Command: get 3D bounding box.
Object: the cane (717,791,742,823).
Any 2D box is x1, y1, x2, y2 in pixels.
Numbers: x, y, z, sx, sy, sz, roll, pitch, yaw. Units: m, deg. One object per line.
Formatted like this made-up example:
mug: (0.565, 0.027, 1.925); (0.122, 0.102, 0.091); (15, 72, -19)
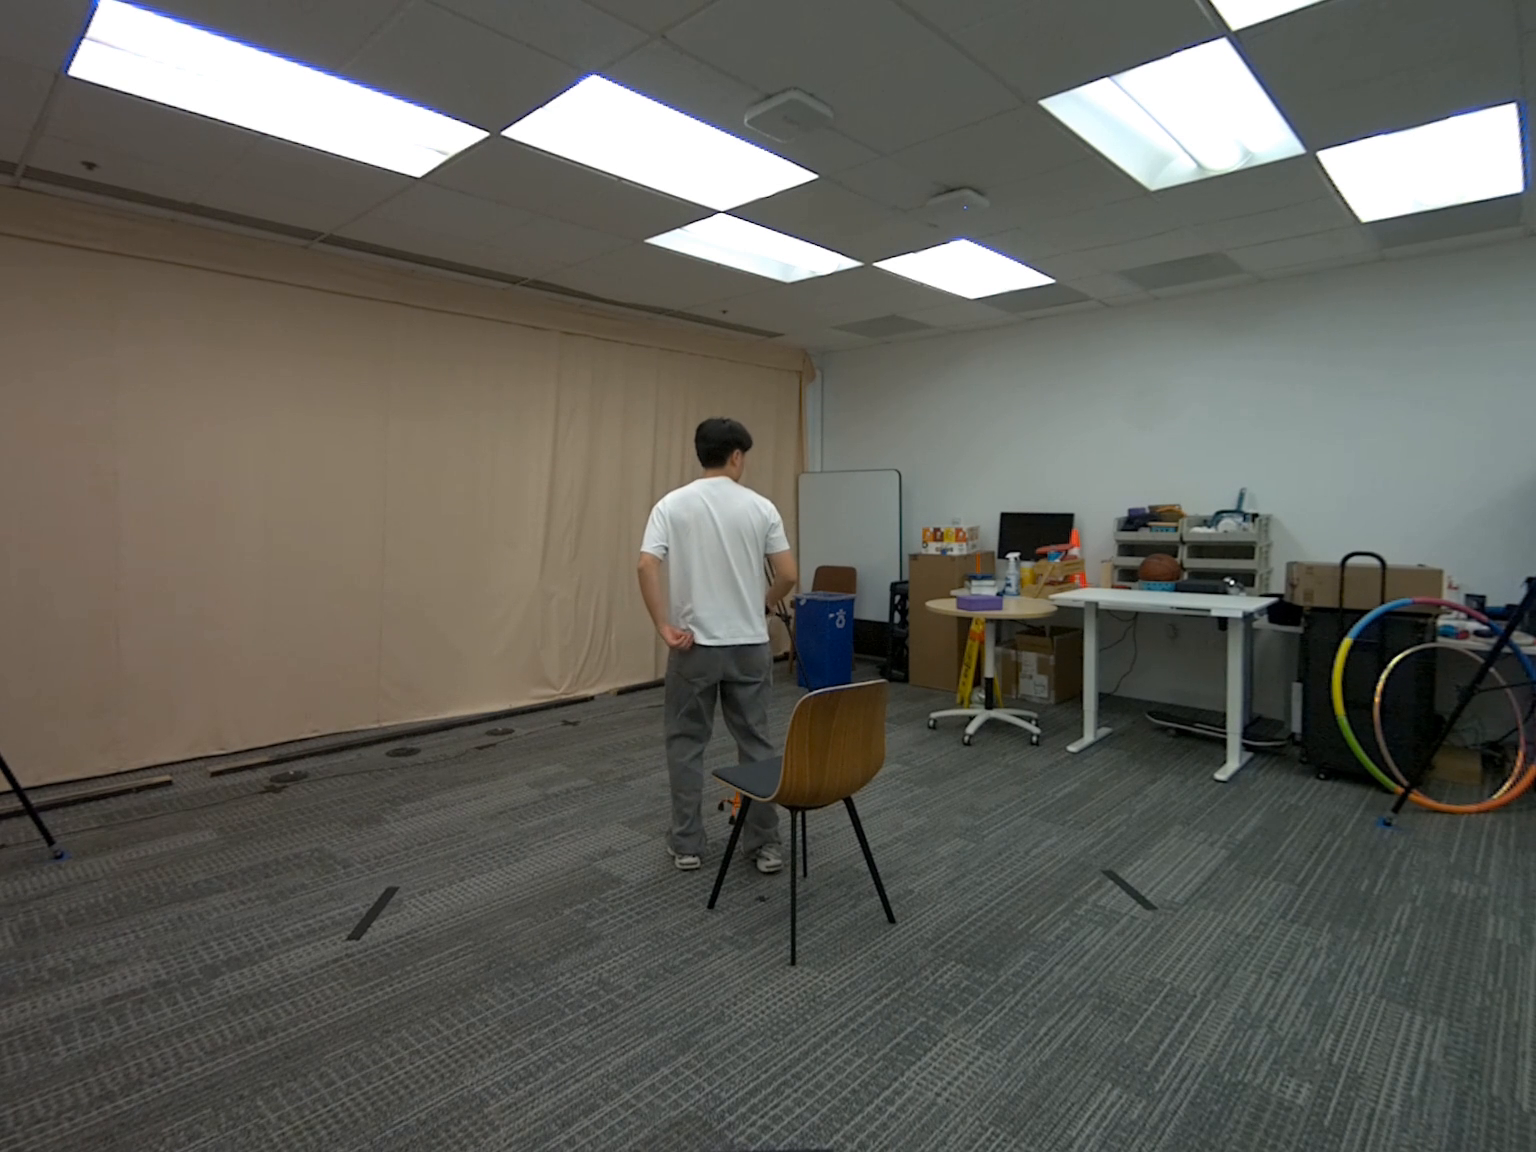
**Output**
cane: (-0.059, 0.573, 3.581); (0.148, 0.908, 0.212); (5, 0, -26)
